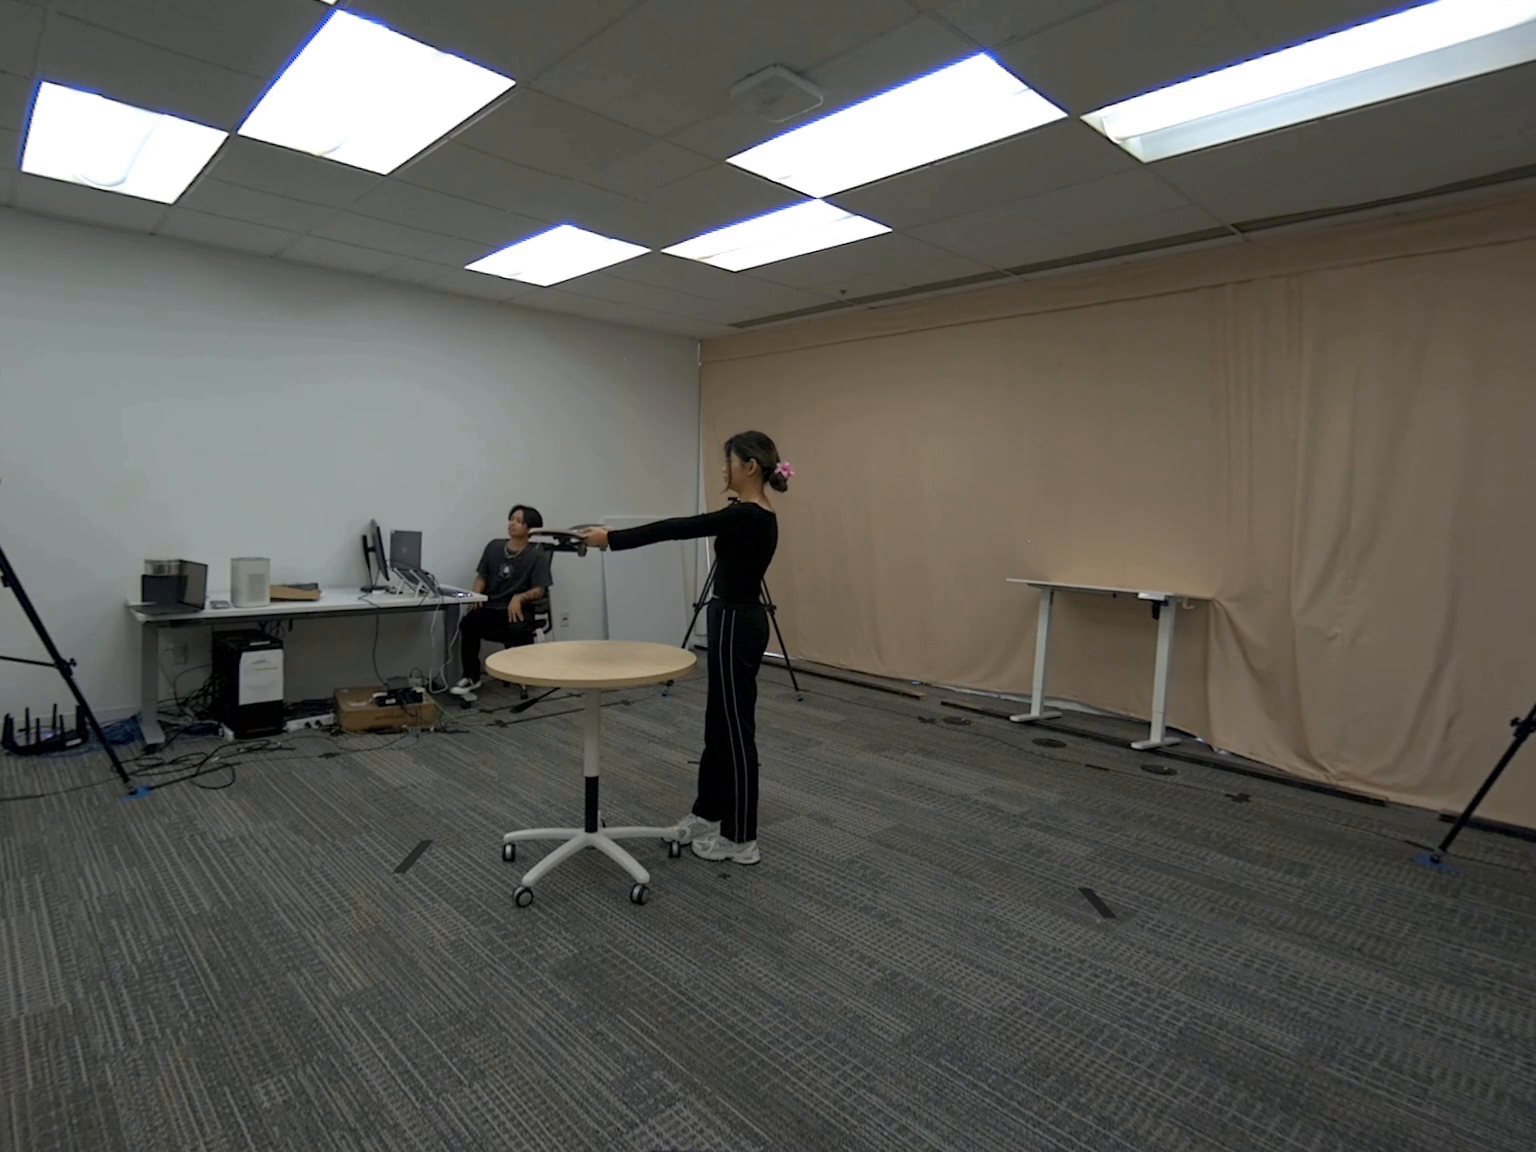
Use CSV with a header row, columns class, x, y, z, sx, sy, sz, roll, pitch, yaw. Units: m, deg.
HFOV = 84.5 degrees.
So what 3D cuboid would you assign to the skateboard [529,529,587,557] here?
class,x,y,z,sx,sy,sz,roll,pitch,yaw
skateboard,-0.775,-0.142,3.356,0.193,0.110,0.788,1,5,-2
